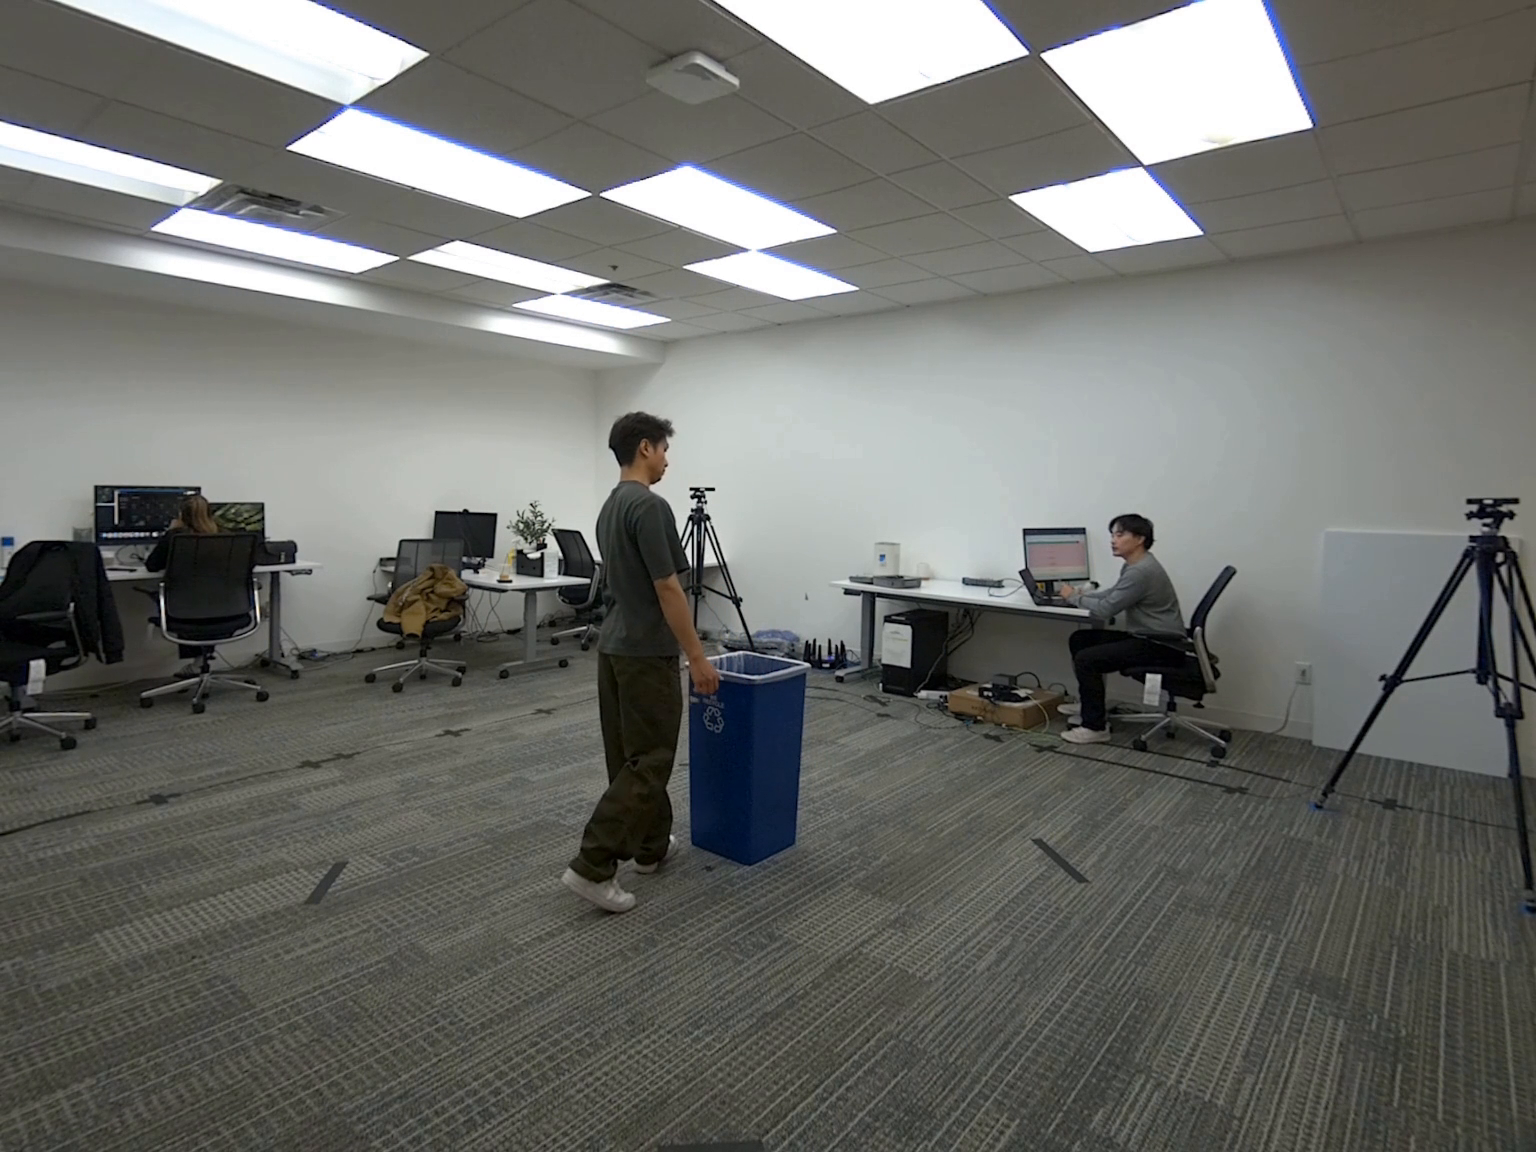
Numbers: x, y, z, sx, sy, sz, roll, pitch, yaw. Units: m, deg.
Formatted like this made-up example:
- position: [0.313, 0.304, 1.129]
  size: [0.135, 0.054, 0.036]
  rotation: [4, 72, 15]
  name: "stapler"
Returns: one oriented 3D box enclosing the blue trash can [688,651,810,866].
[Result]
- position: [-0.096, 0.689, 3.329]
  size: [0.391, 0.711, 0.363]
  rotation: [4, 5, 38]
  name: "blue trash can"
